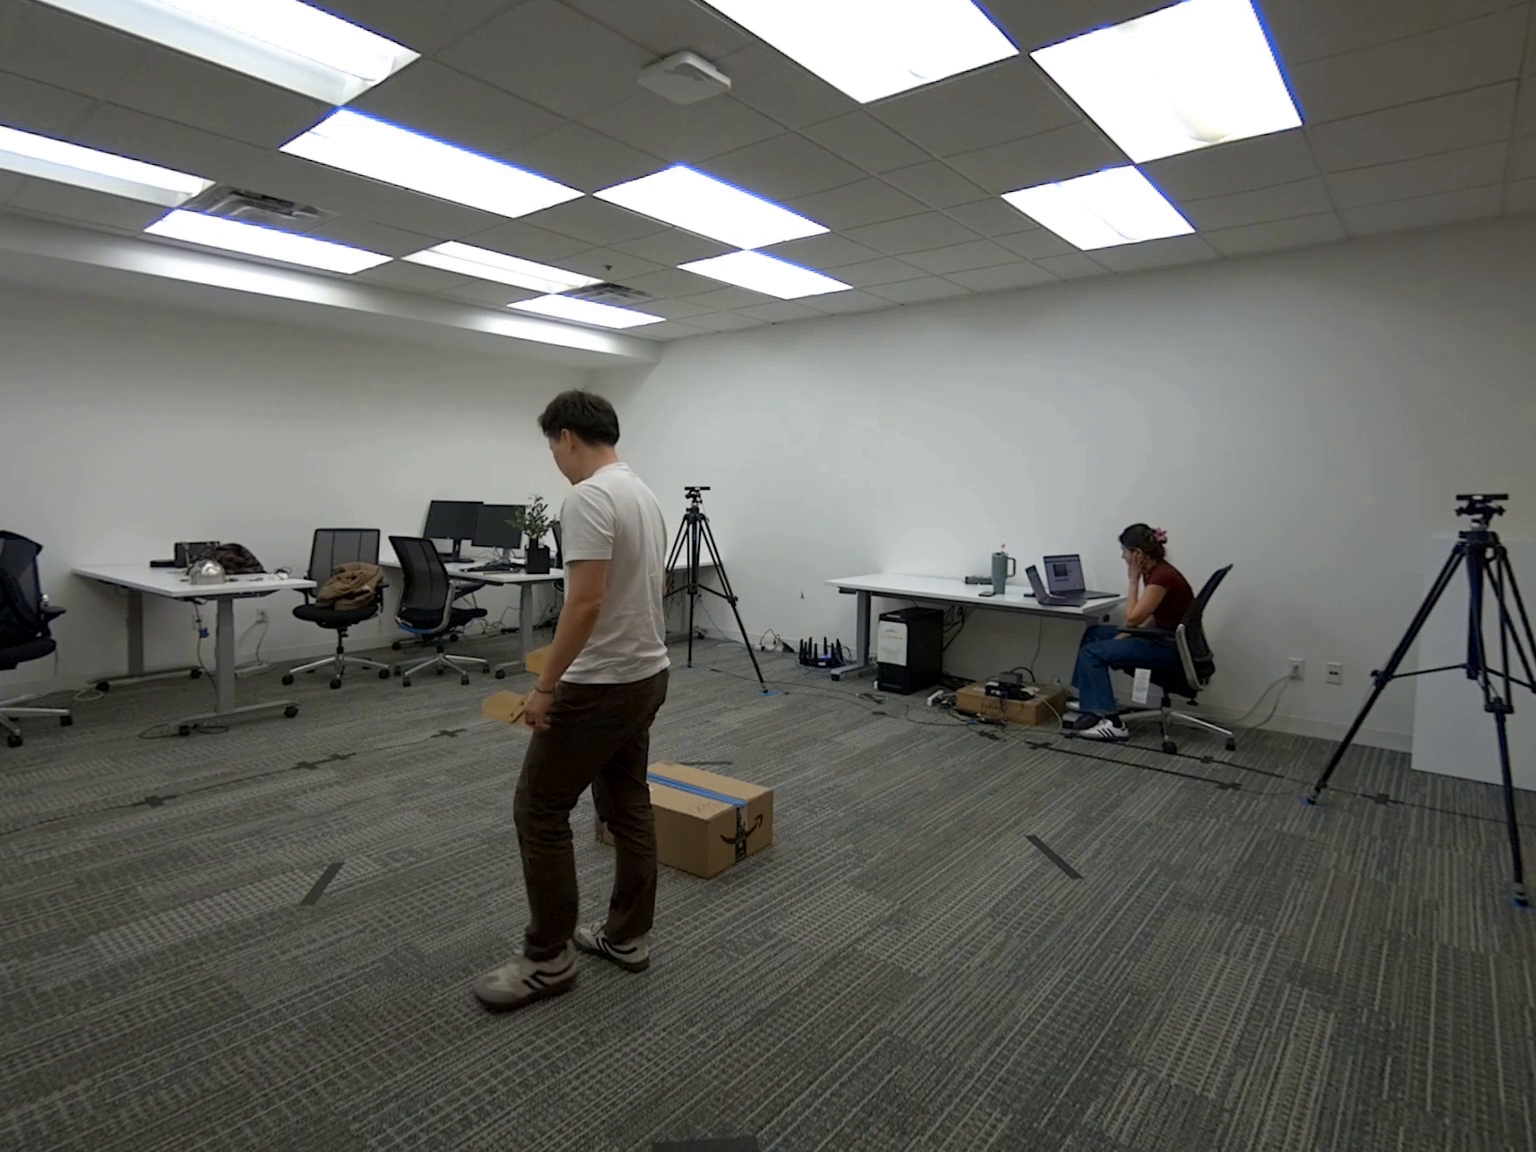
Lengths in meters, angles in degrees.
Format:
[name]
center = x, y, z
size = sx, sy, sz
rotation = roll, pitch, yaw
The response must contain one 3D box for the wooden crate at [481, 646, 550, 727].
[wooden crate]
center = -0.724, 0.372, 2.782
size = 0.307, 0.275, 0.316
rotation = 13, -12, 13
